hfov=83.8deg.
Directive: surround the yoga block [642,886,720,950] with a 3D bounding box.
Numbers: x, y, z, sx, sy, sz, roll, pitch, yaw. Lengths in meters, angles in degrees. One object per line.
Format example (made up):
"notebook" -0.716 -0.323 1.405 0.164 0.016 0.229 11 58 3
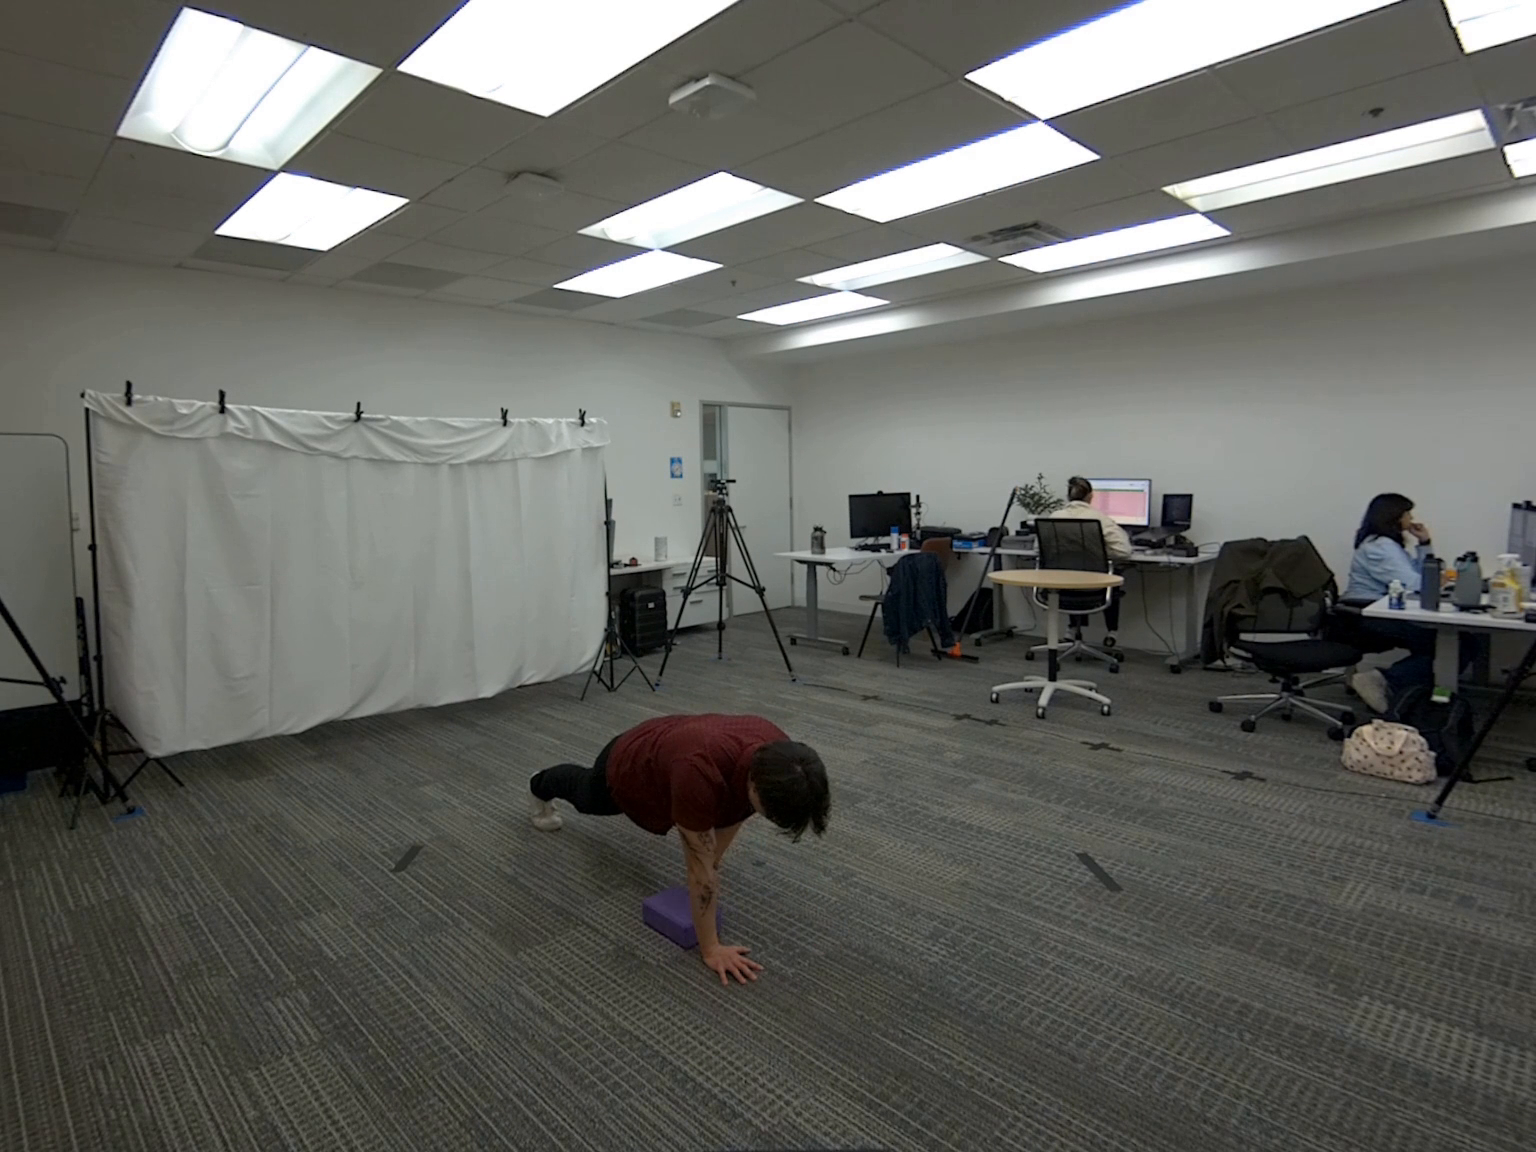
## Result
"yoga block" -0.255 1.058 2.680 0.145 0.076 0.236 -6 9 -41
